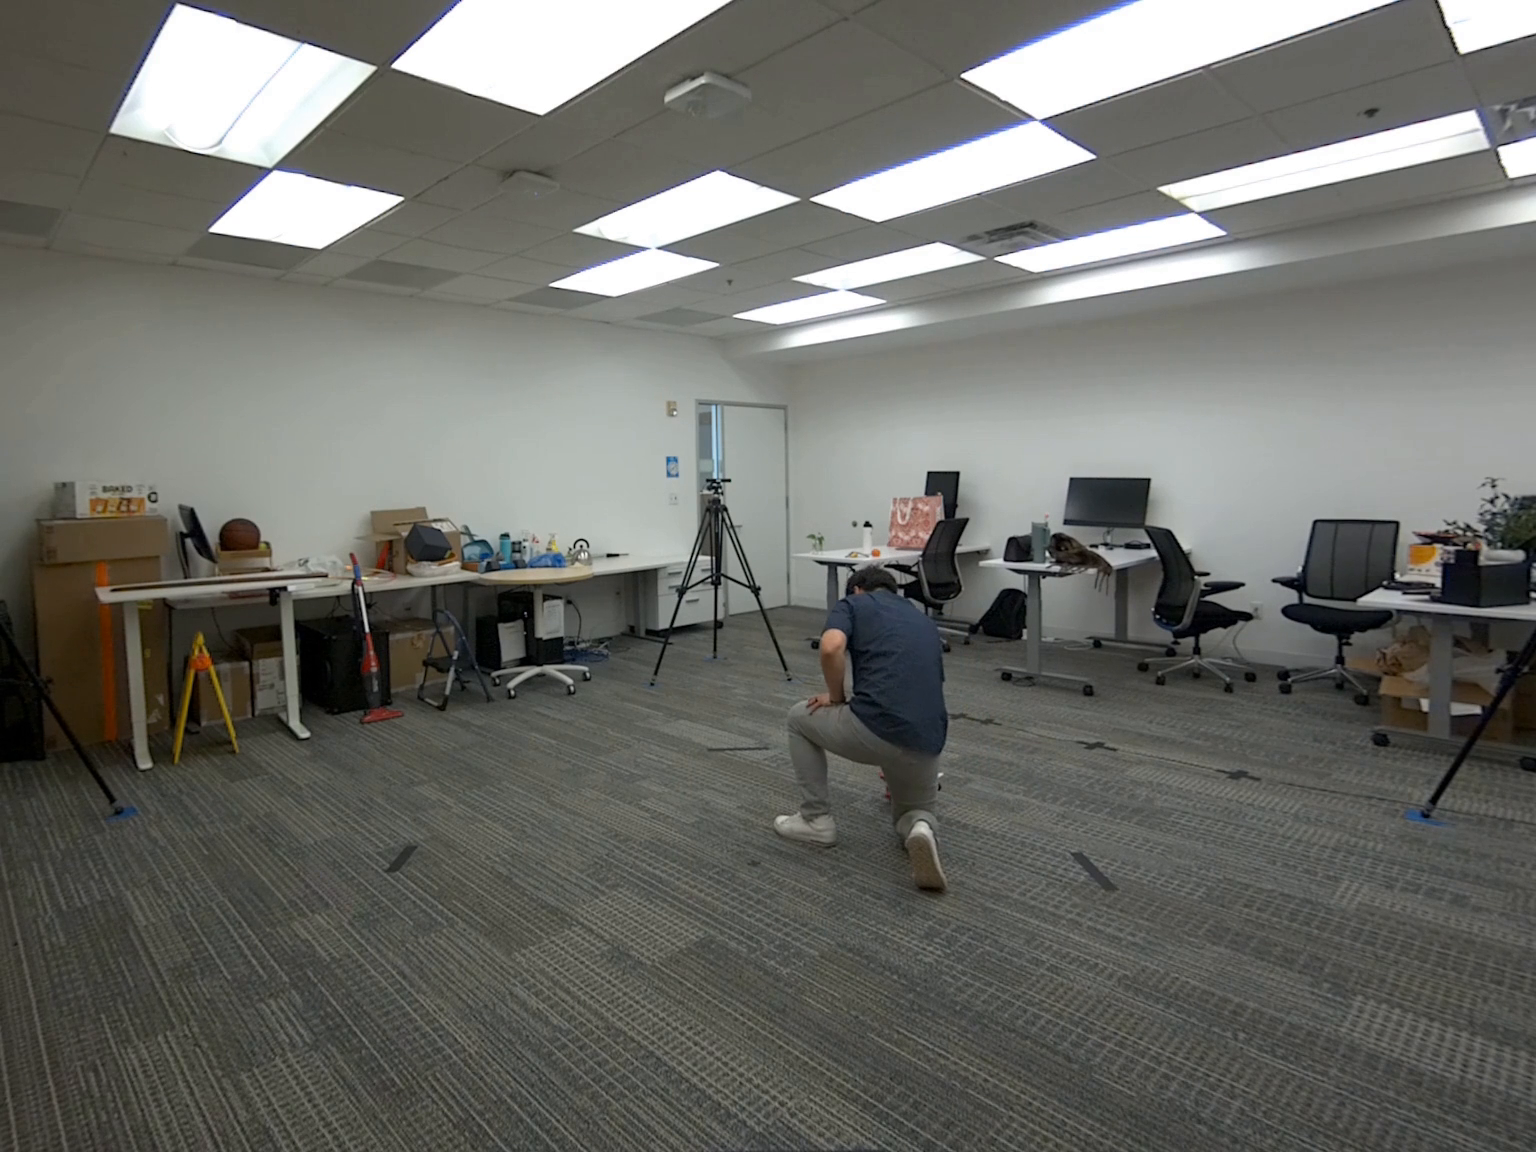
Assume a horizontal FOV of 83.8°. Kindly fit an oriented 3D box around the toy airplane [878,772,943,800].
[{"bbox_3d":[0.622,0.874,3.635,0.260,0.159,0.245,-26,-14,9],"label":"toy airplane"}]
